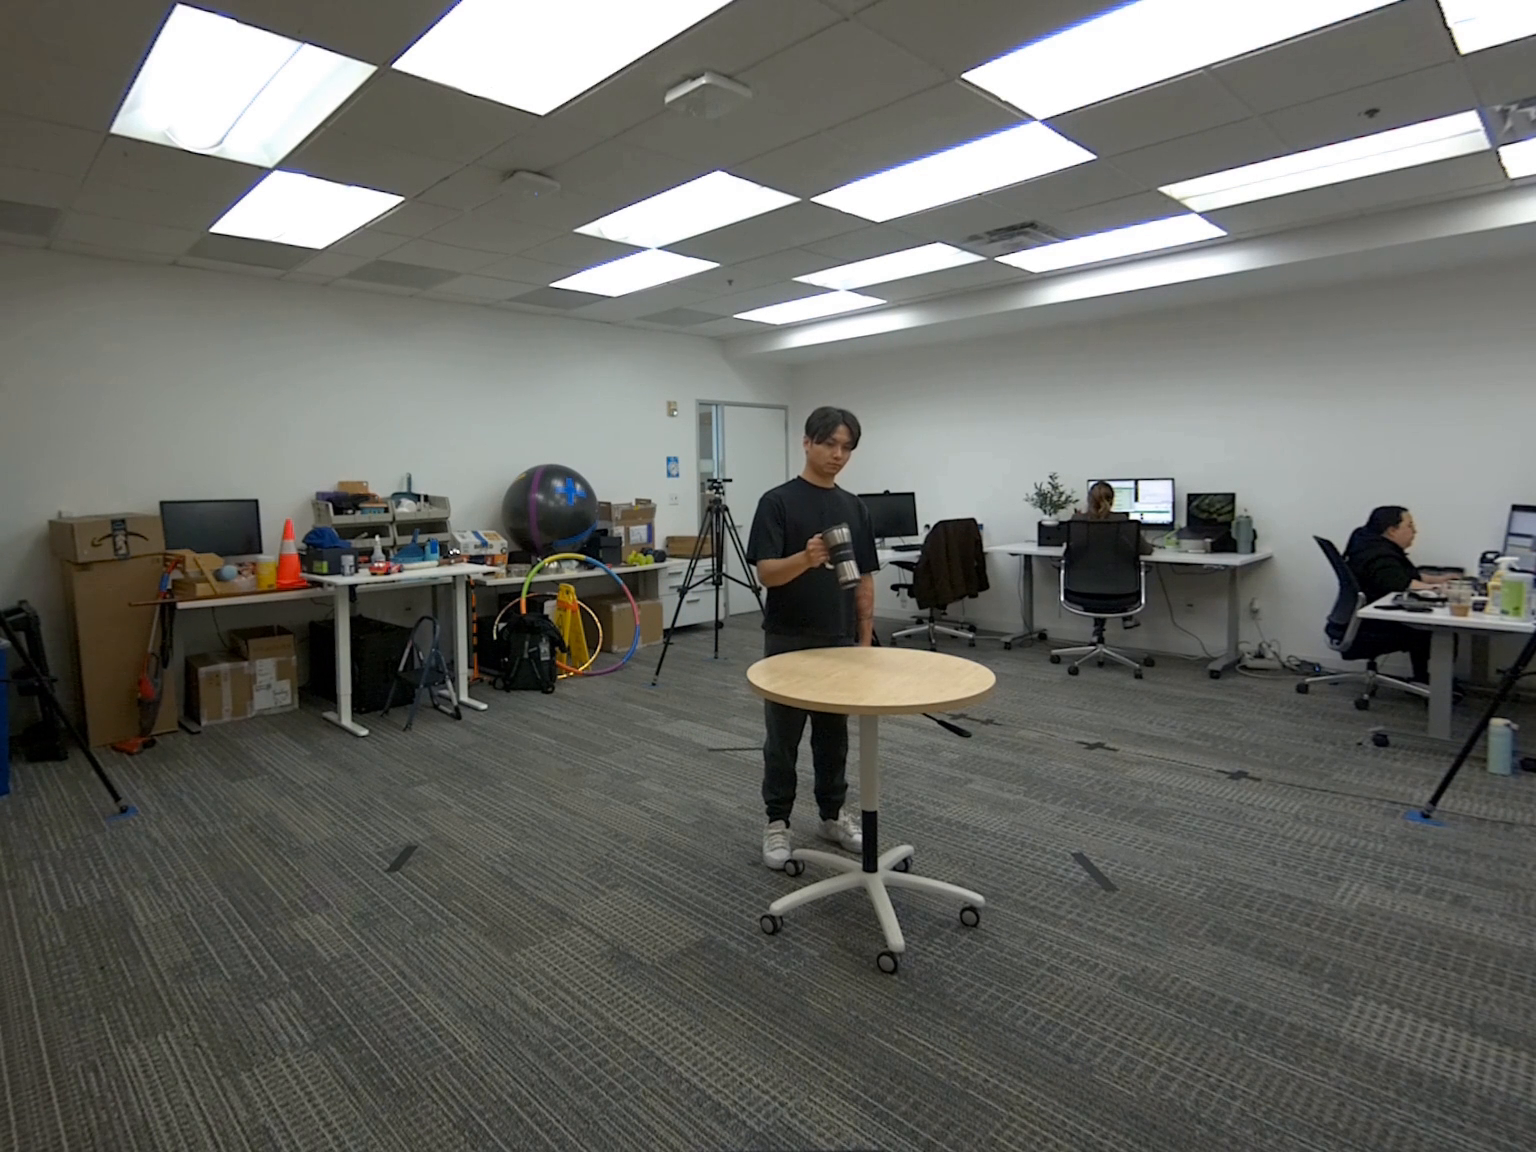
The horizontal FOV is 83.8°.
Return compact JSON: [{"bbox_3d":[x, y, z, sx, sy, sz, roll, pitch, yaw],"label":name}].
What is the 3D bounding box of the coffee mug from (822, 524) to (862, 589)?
[{"bbox_3d":[0.229,-0.052,2.746,0.086,0.206,0.122,-7,-12,-22],"label":"coffee mug"}]
